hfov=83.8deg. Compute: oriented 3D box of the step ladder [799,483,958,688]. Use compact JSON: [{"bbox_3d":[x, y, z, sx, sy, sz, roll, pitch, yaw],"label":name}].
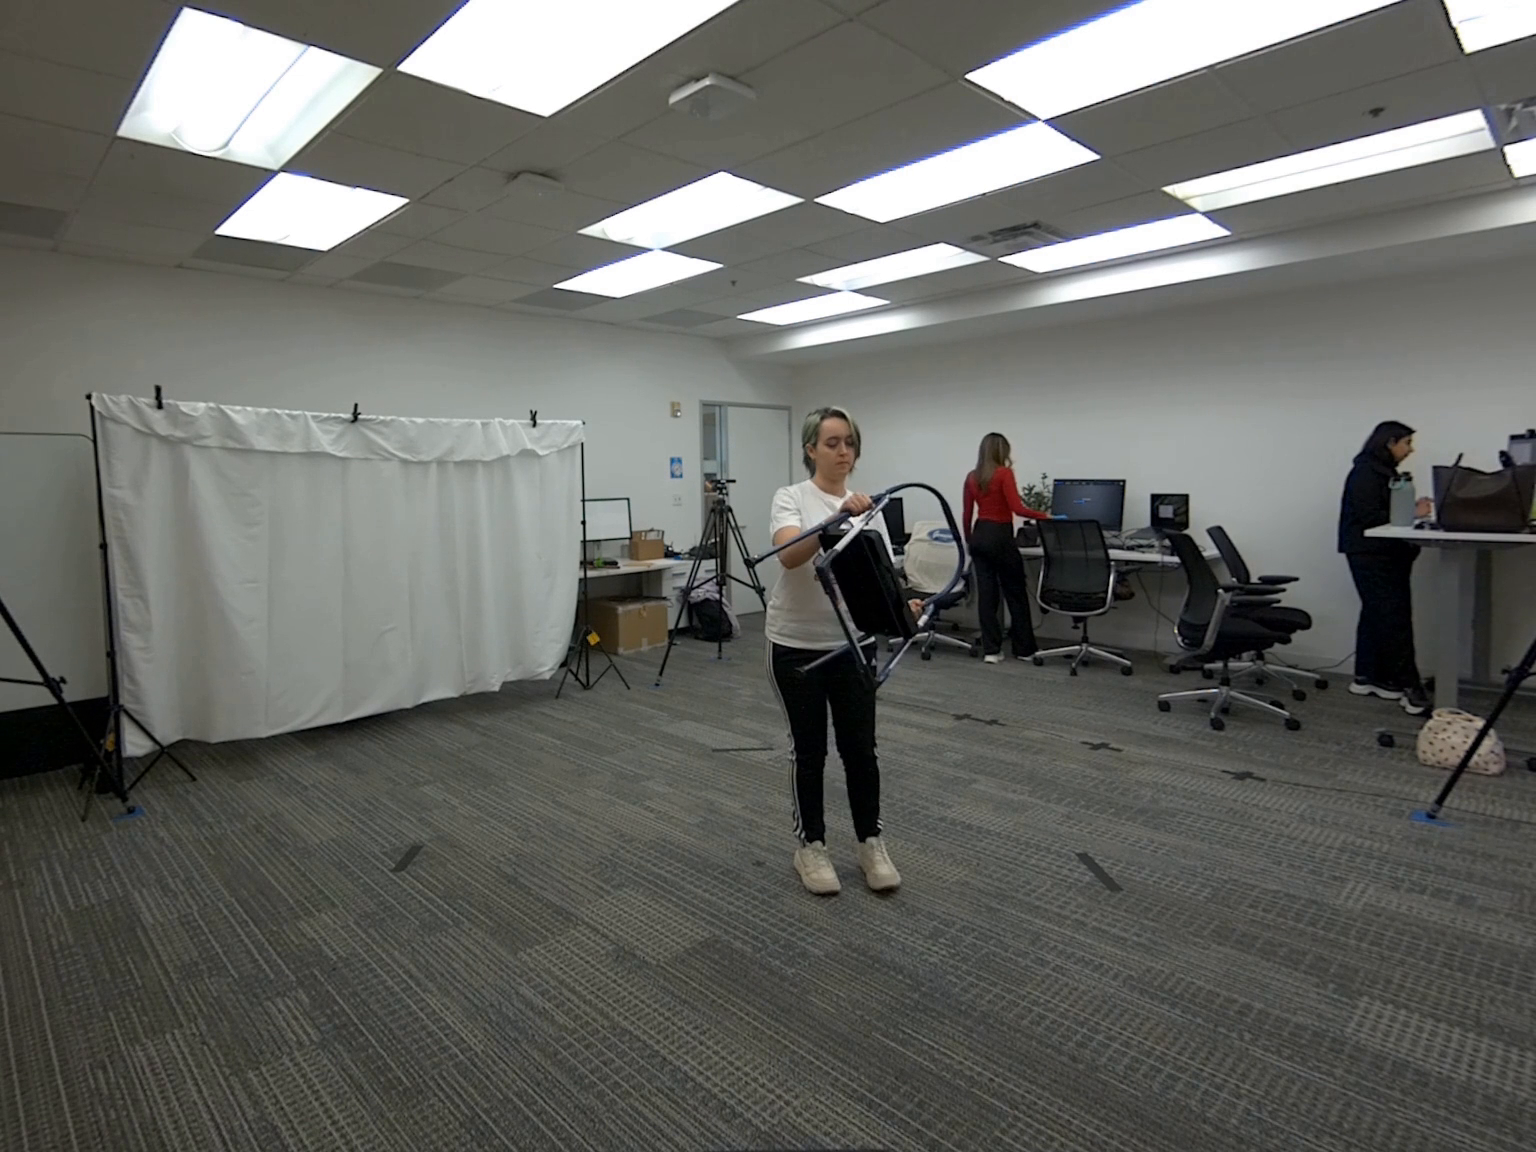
[{"bbox_3d":[0.323,-0.012,2.594,0.602,0.421,0.359,-36,22,-28],"label":"step ladder"}]
